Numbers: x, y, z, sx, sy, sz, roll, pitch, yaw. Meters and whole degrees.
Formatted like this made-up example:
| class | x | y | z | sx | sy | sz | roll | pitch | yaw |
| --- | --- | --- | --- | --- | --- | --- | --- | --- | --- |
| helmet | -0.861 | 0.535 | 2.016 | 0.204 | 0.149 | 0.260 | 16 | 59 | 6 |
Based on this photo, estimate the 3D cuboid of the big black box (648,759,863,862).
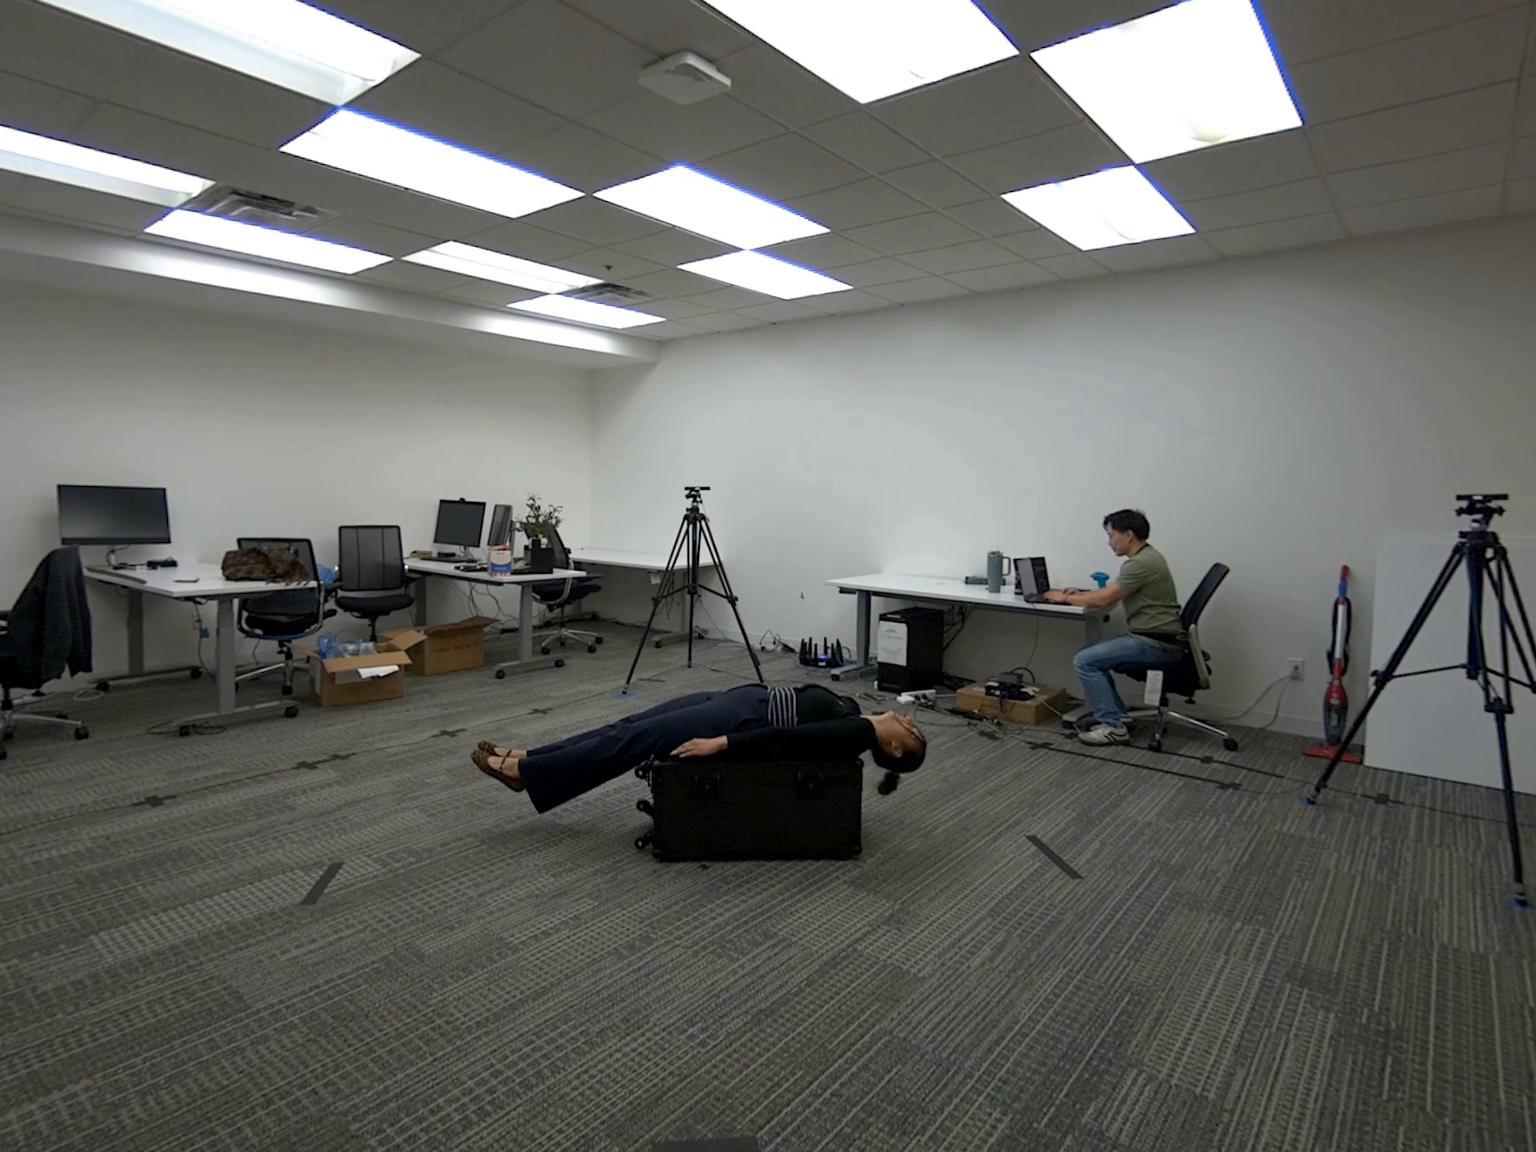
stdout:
| class | x | y | z | sx | sy | sz | roll | pitch | yaw |
| --- | --- | --- | --- | --- | --- | --- | --- | --- | --- |
| big black box | -0.110 | 0.840 | 3.389 | 0.857 | 0.395 | 0.526 | 1 | 5 | -5 |
